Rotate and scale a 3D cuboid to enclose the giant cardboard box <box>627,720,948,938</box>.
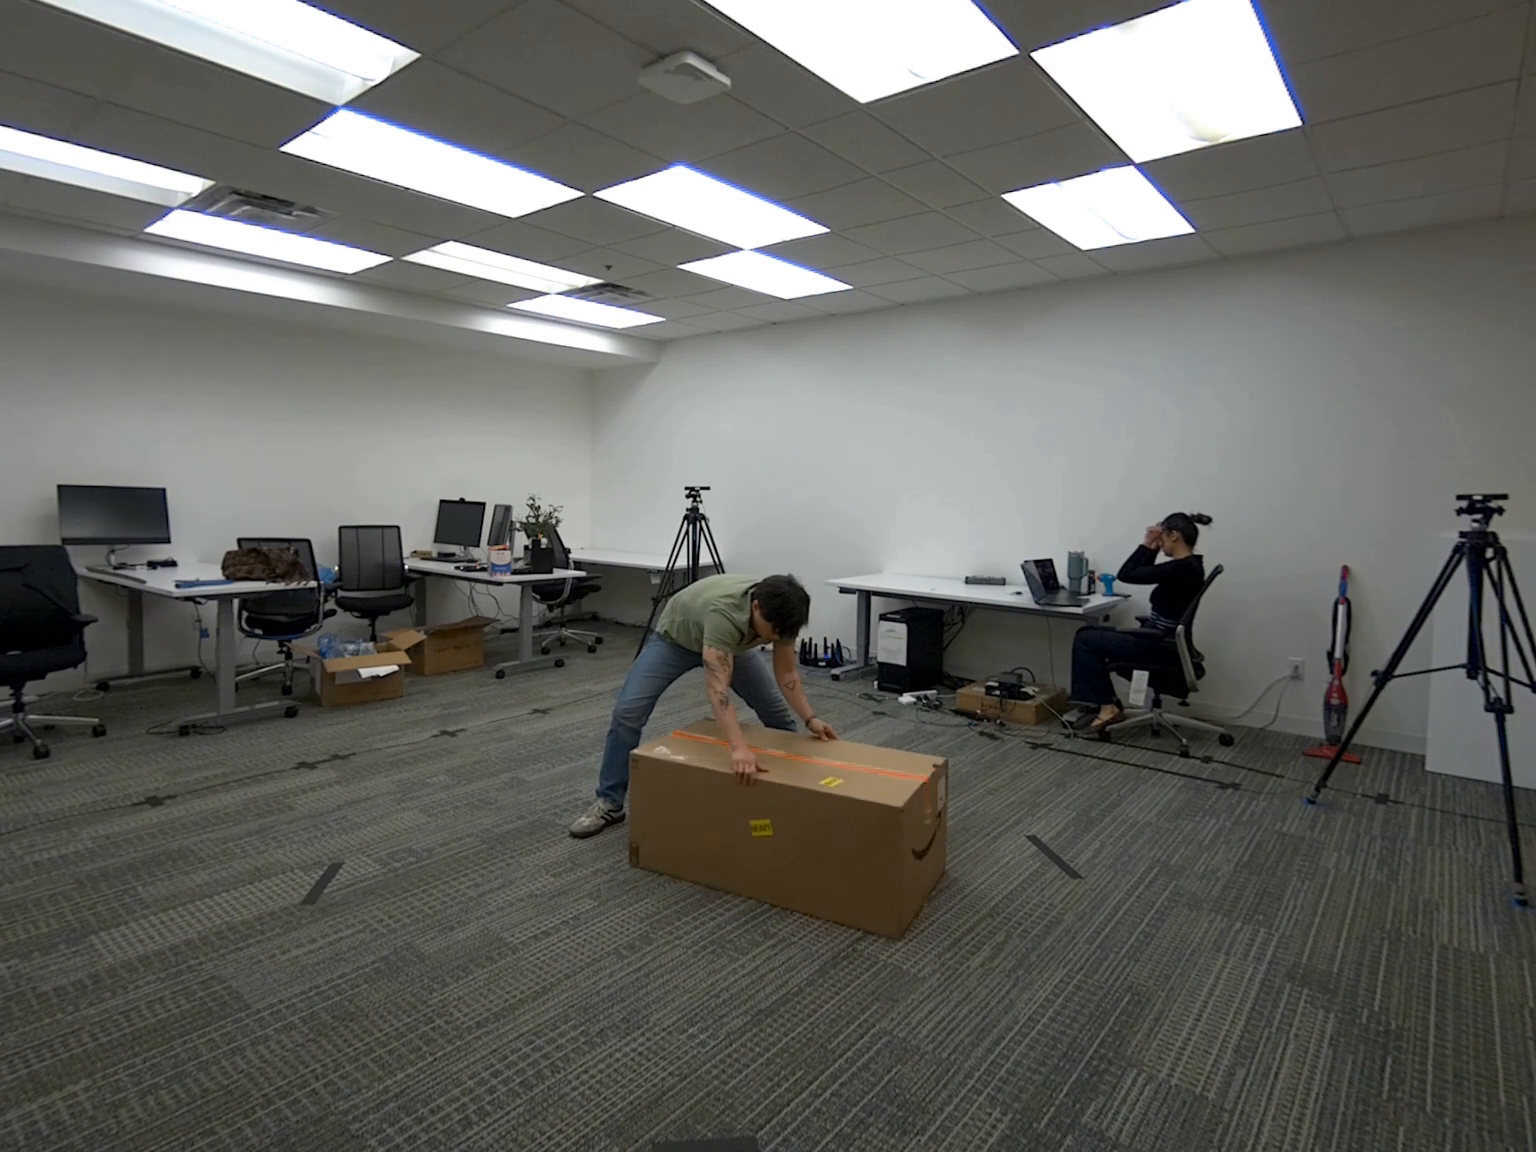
[{"bbox_3d":[0.061,0.857,3.104,1.055,0.424,0.564,4,6,28],"label":"giant cardboard box"}]
